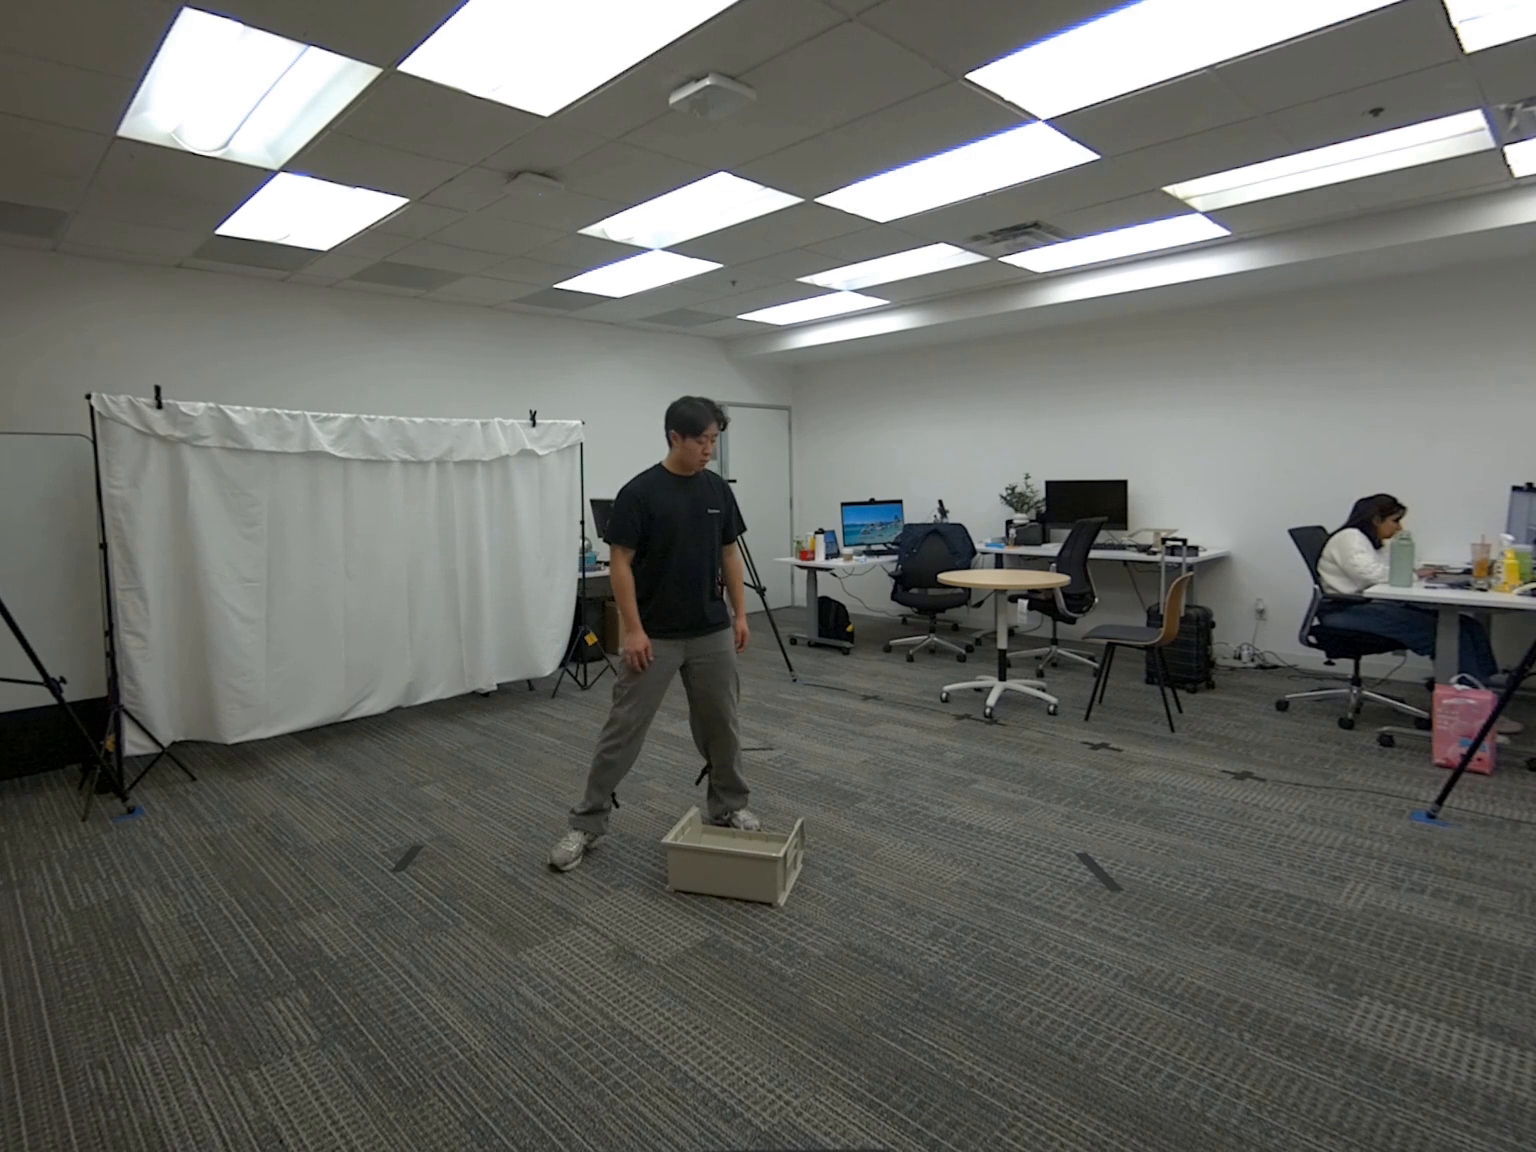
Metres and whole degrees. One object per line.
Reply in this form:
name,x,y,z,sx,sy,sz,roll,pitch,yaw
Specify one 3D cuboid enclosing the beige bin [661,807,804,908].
beige bin,-0.110,0.973,3.007,0.429,0.188,0.373,1,7,16
